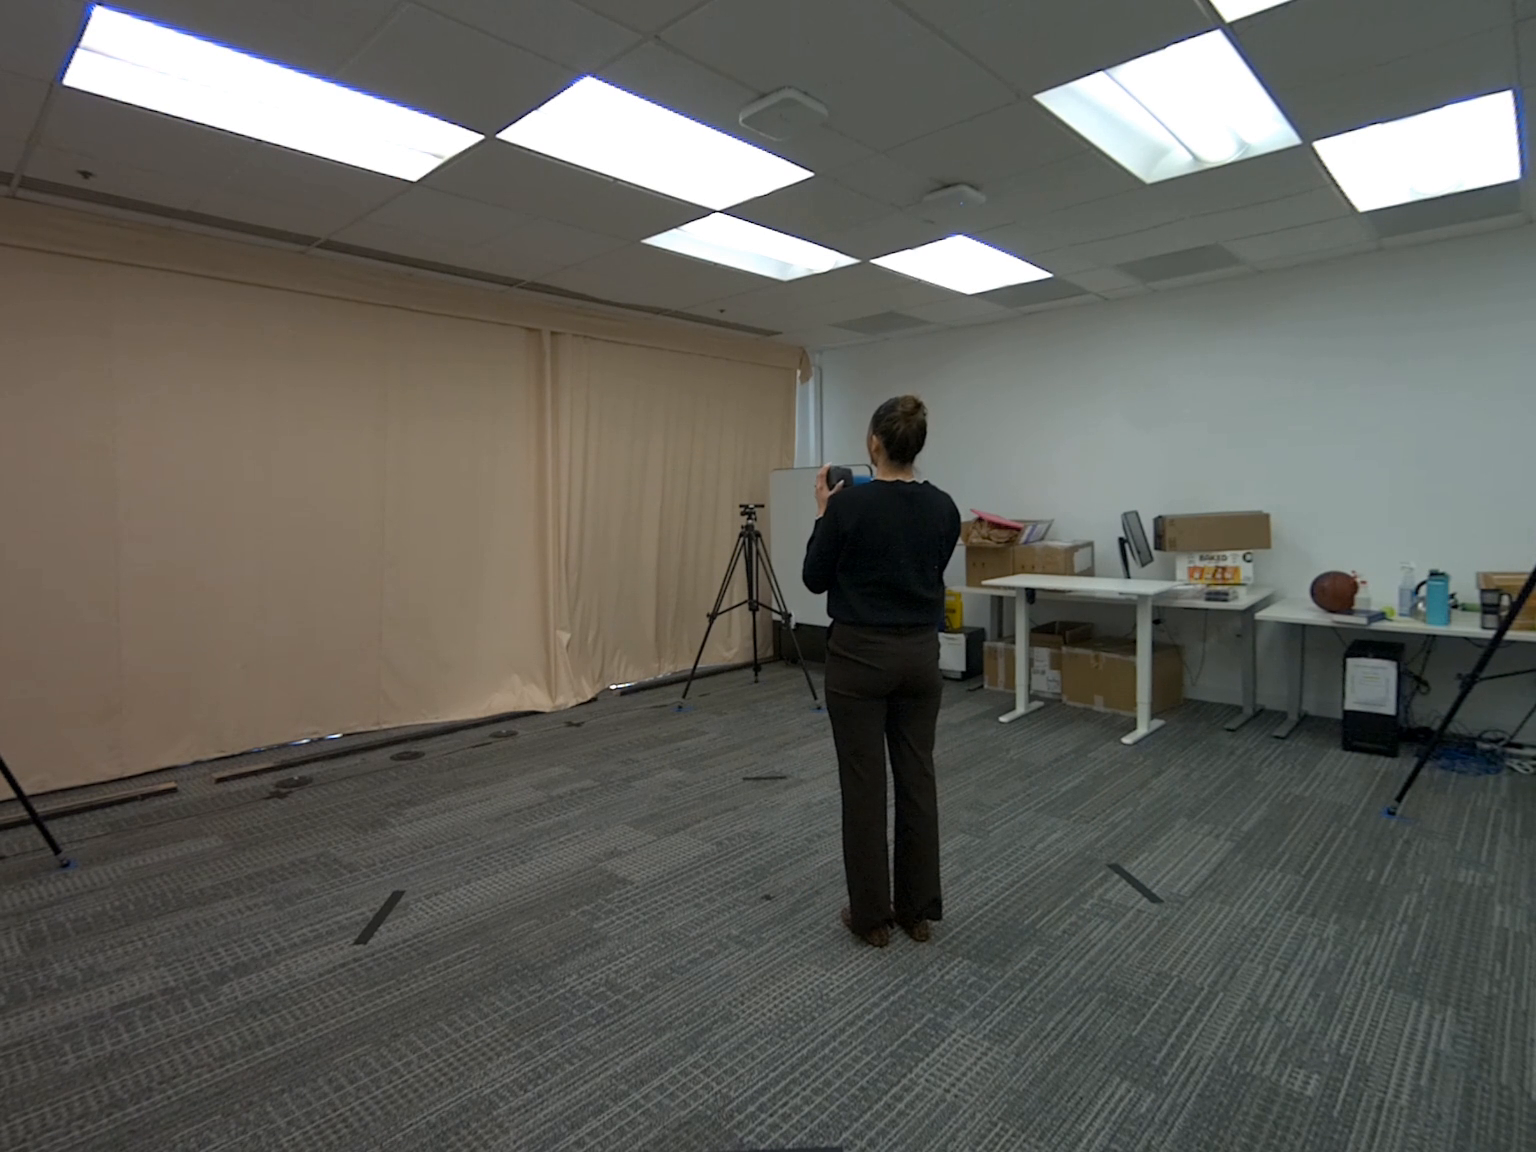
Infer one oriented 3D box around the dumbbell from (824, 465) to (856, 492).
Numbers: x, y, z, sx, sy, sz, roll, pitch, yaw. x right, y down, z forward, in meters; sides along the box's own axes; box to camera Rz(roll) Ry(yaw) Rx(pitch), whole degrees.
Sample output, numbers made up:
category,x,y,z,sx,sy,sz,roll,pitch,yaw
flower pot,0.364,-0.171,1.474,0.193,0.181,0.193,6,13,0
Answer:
category,x,y,z,sx,sy,sz,roll,pitch,yaw
dumbbell,0.336,-0.305,2.825,0.288,0.125,0.109,0,-28,-18
